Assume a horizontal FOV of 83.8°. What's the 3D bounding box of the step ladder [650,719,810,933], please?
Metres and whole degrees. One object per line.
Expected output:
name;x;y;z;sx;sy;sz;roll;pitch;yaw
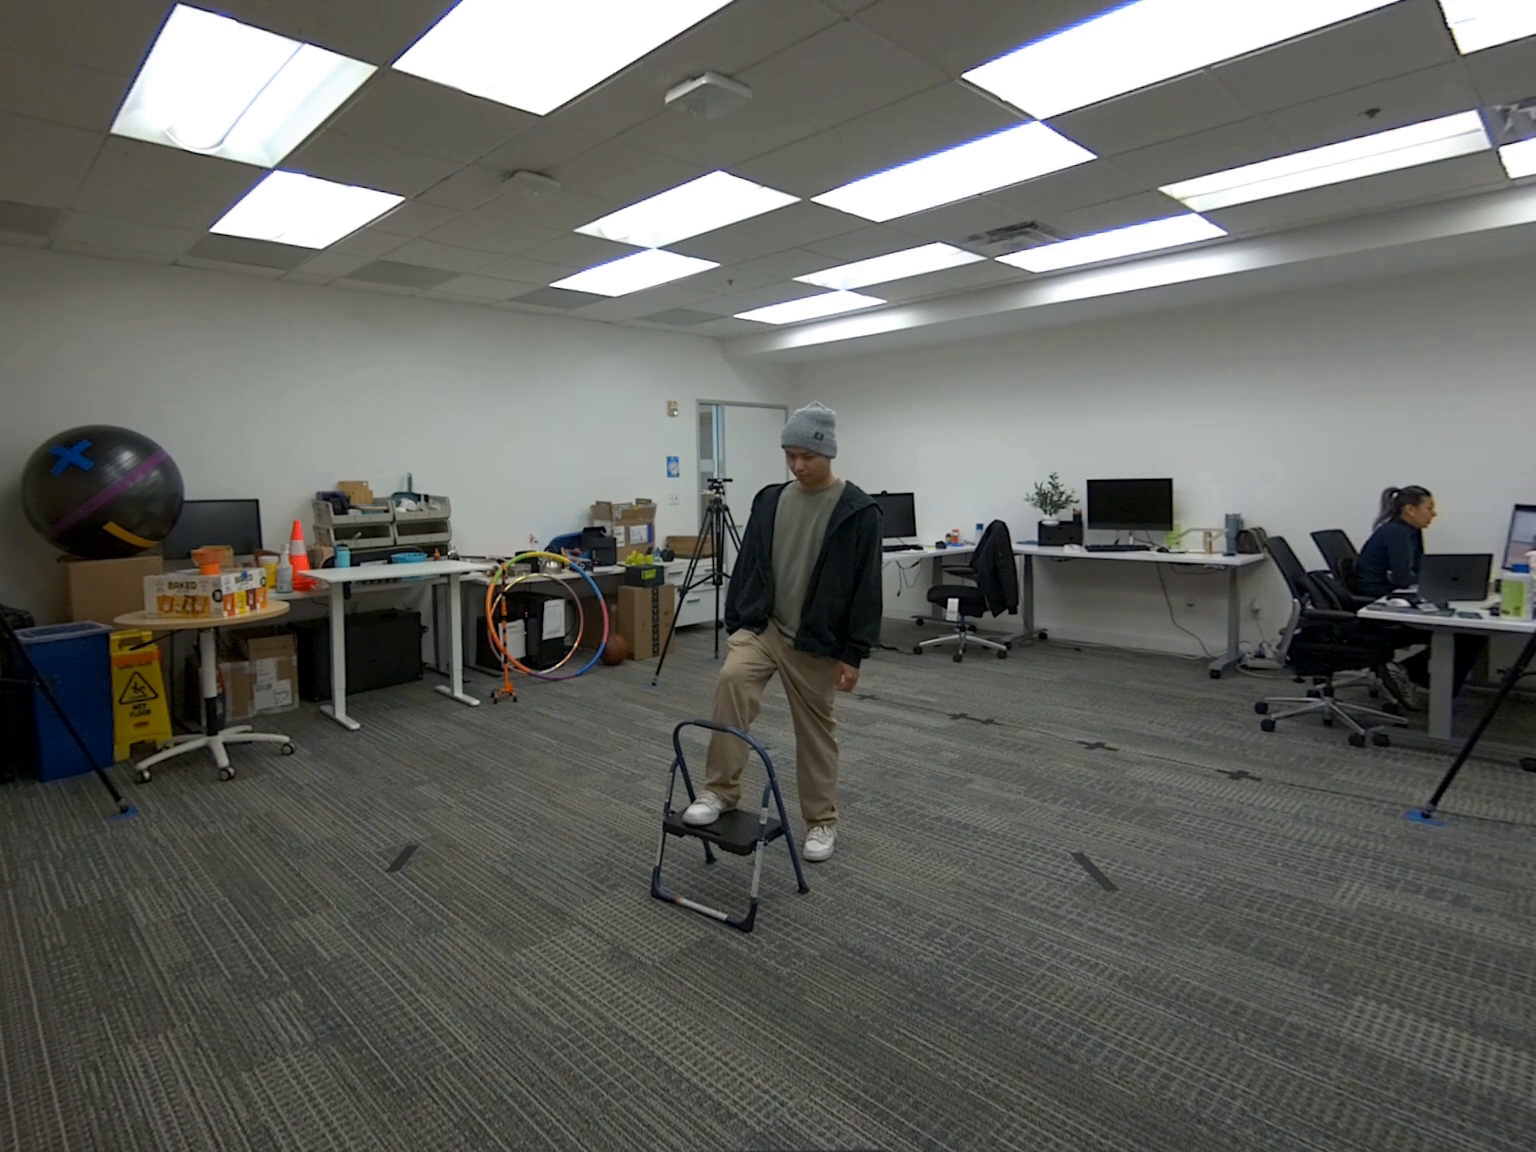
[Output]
step ladder;-0.137;0.771;2.865;0.443;0.604;0.341;2;5;35
